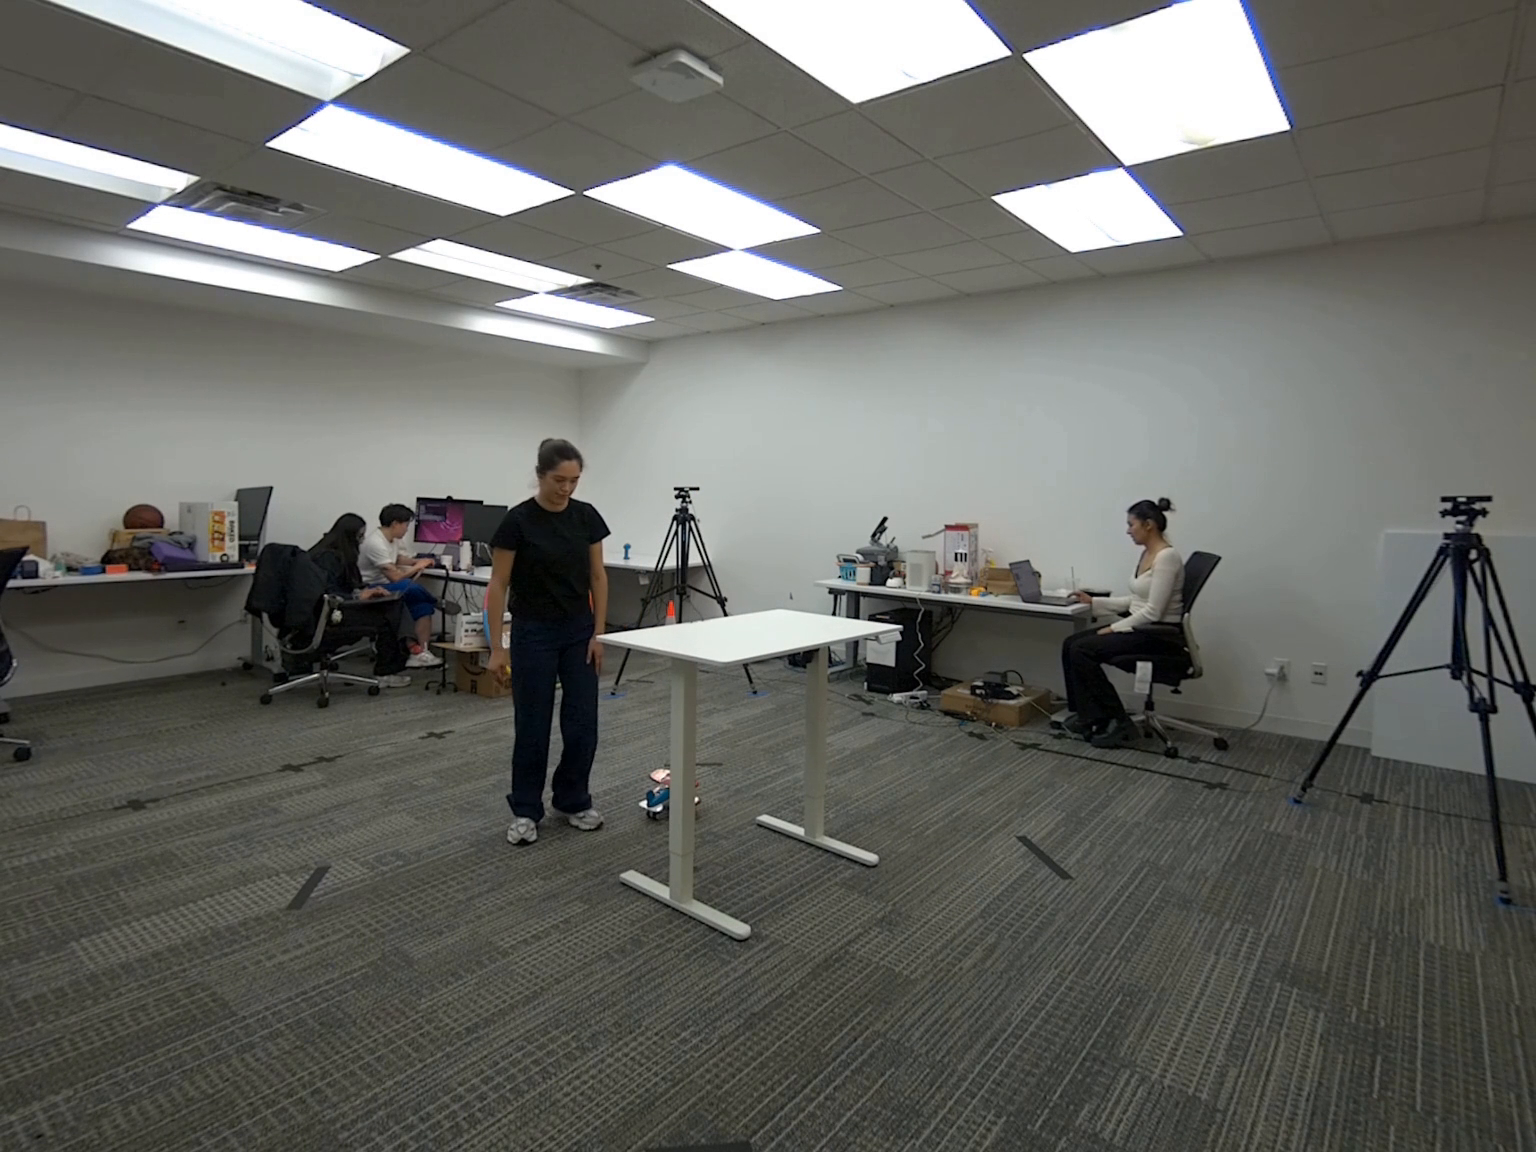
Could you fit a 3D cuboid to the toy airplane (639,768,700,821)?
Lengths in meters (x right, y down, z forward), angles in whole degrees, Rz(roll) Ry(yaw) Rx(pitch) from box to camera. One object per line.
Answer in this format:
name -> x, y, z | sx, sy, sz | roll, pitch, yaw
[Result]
toy airplane -> -0.392, 0.939, 3.640 | 0.255, 0.156, 0.256 | 3, 4, 12
